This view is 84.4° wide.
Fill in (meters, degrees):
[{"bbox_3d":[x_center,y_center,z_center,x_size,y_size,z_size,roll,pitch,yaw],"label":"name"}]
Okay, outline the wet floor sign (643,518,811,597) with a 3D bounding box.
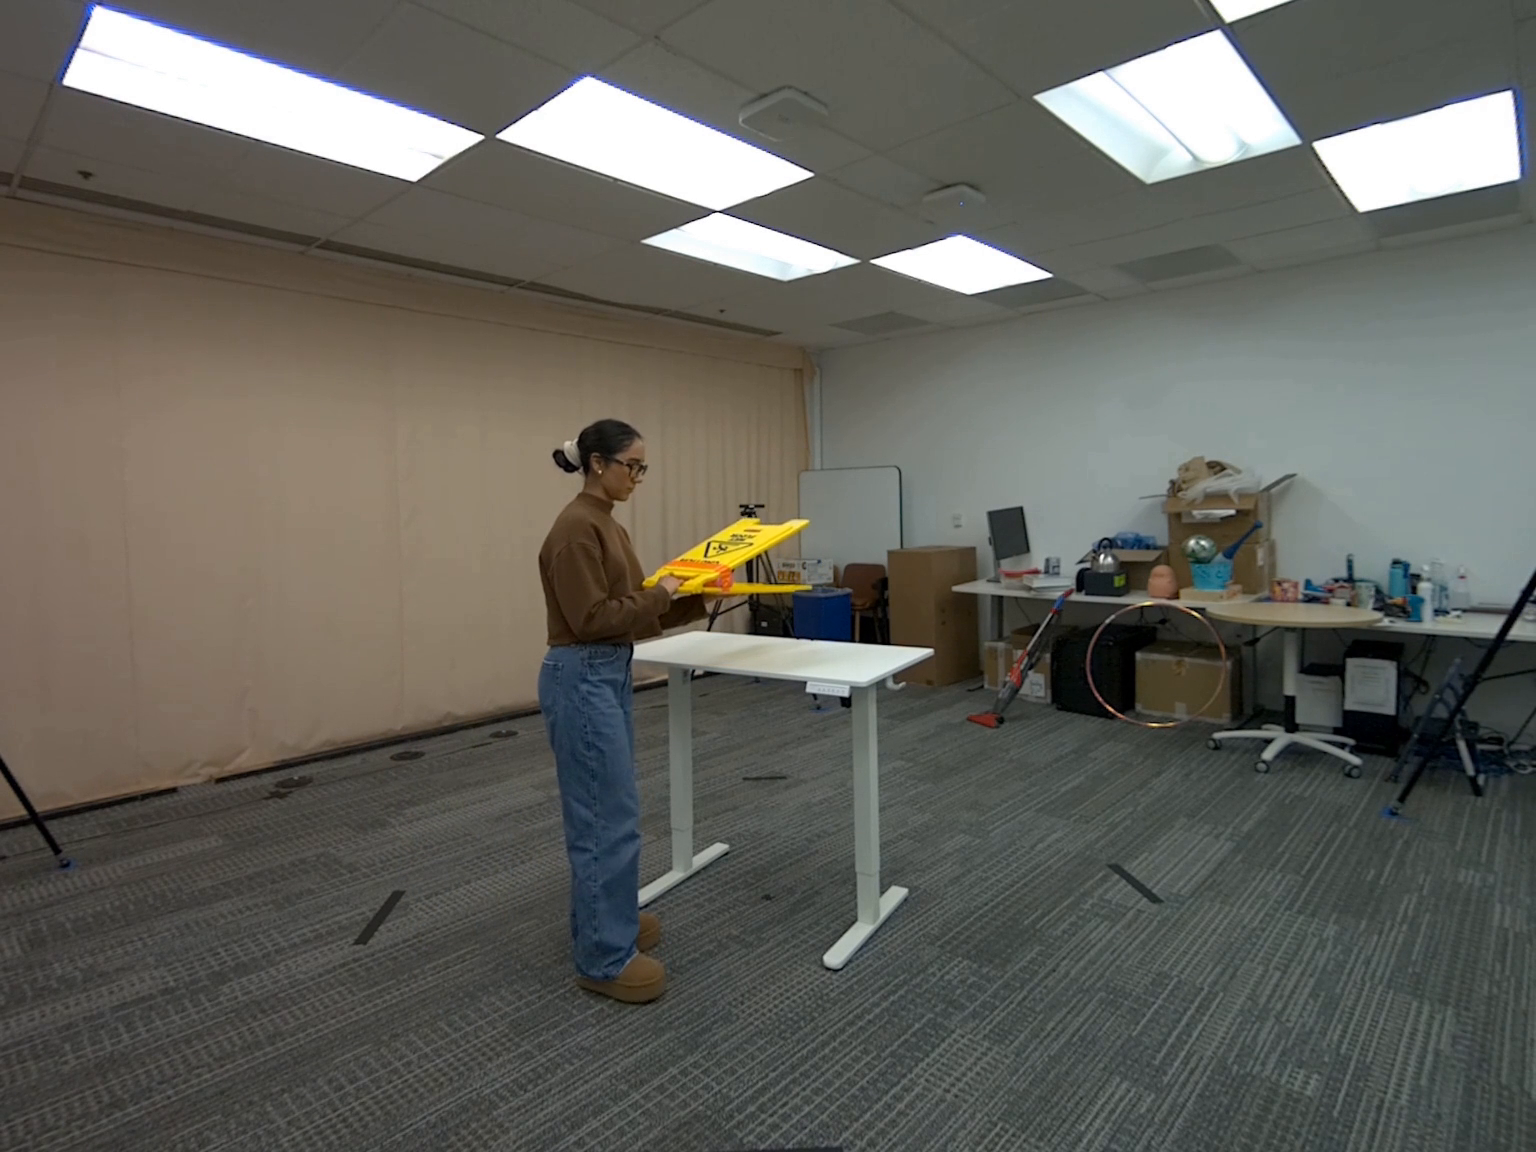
[{"bbox_3d":[-0.105,-0.022,2.752,0.290,0.288,0.630,4,10,30],"label":"wet floor sign"}]
